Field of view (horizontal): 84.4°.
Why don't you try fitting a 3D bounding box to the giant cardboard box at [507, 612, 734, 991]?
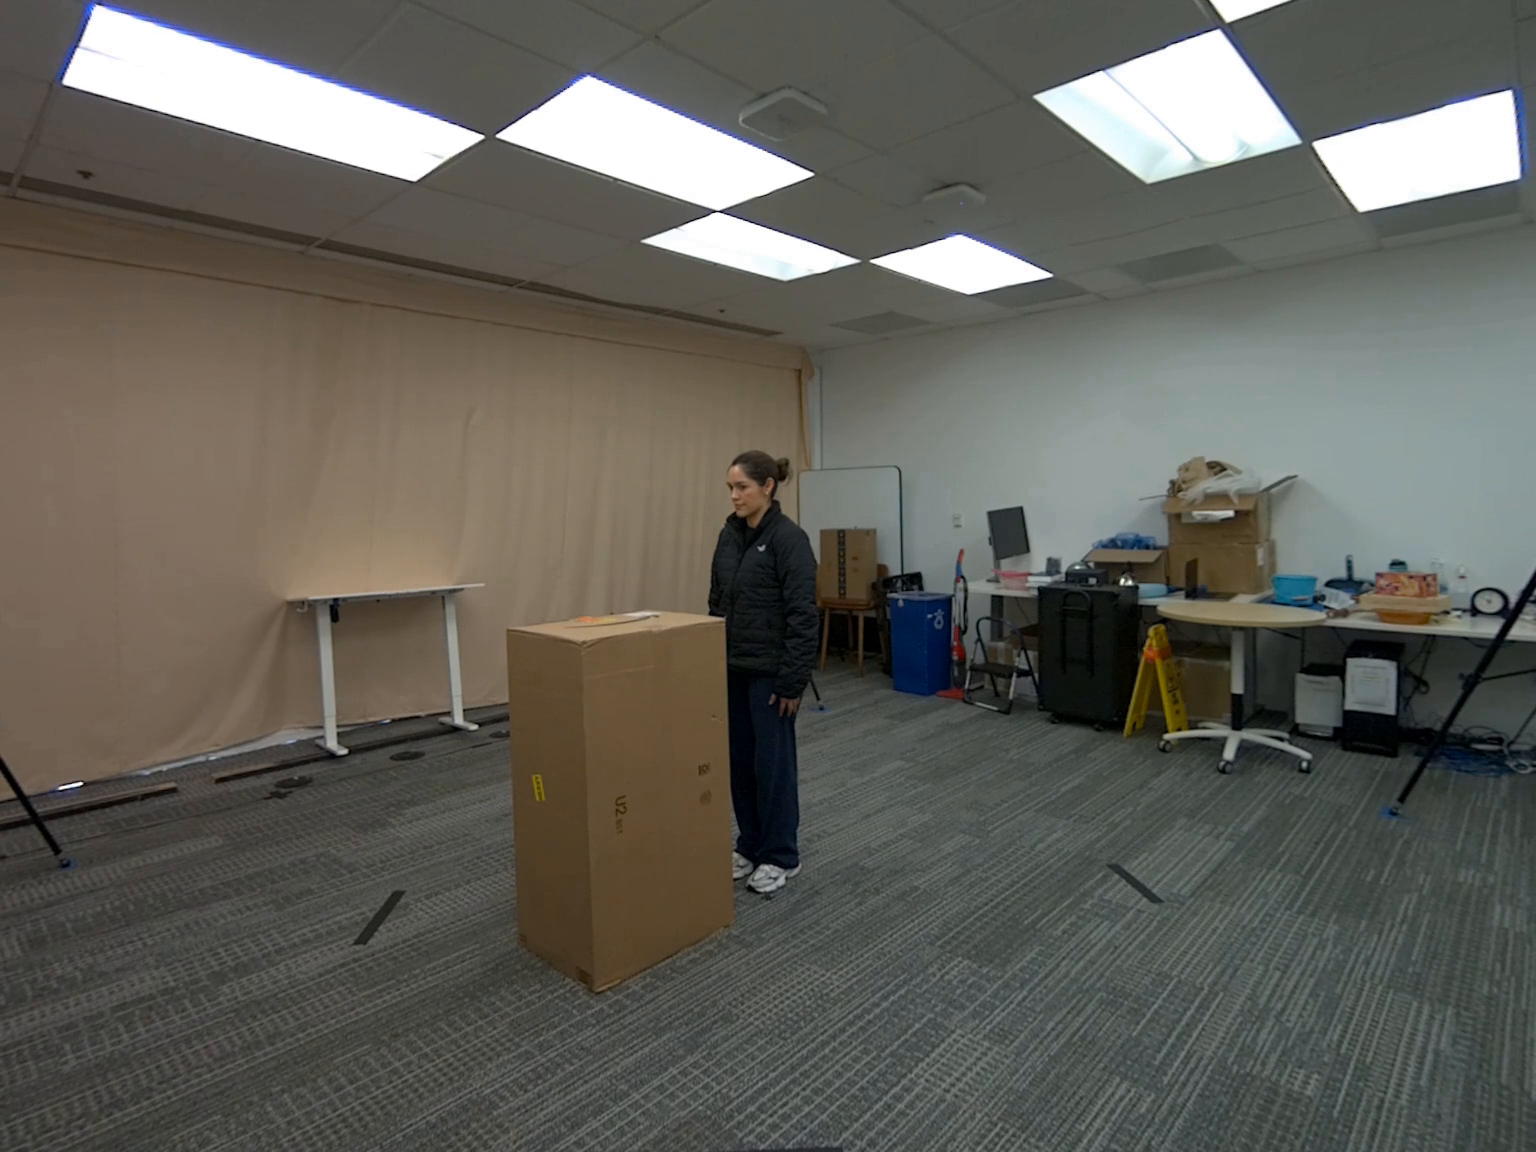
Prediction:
[{"bbox_3d":[-0.461,0.662,2.729,0.440,1.024,0.560,2,4,44],"label":"giant cardboard box"}]
